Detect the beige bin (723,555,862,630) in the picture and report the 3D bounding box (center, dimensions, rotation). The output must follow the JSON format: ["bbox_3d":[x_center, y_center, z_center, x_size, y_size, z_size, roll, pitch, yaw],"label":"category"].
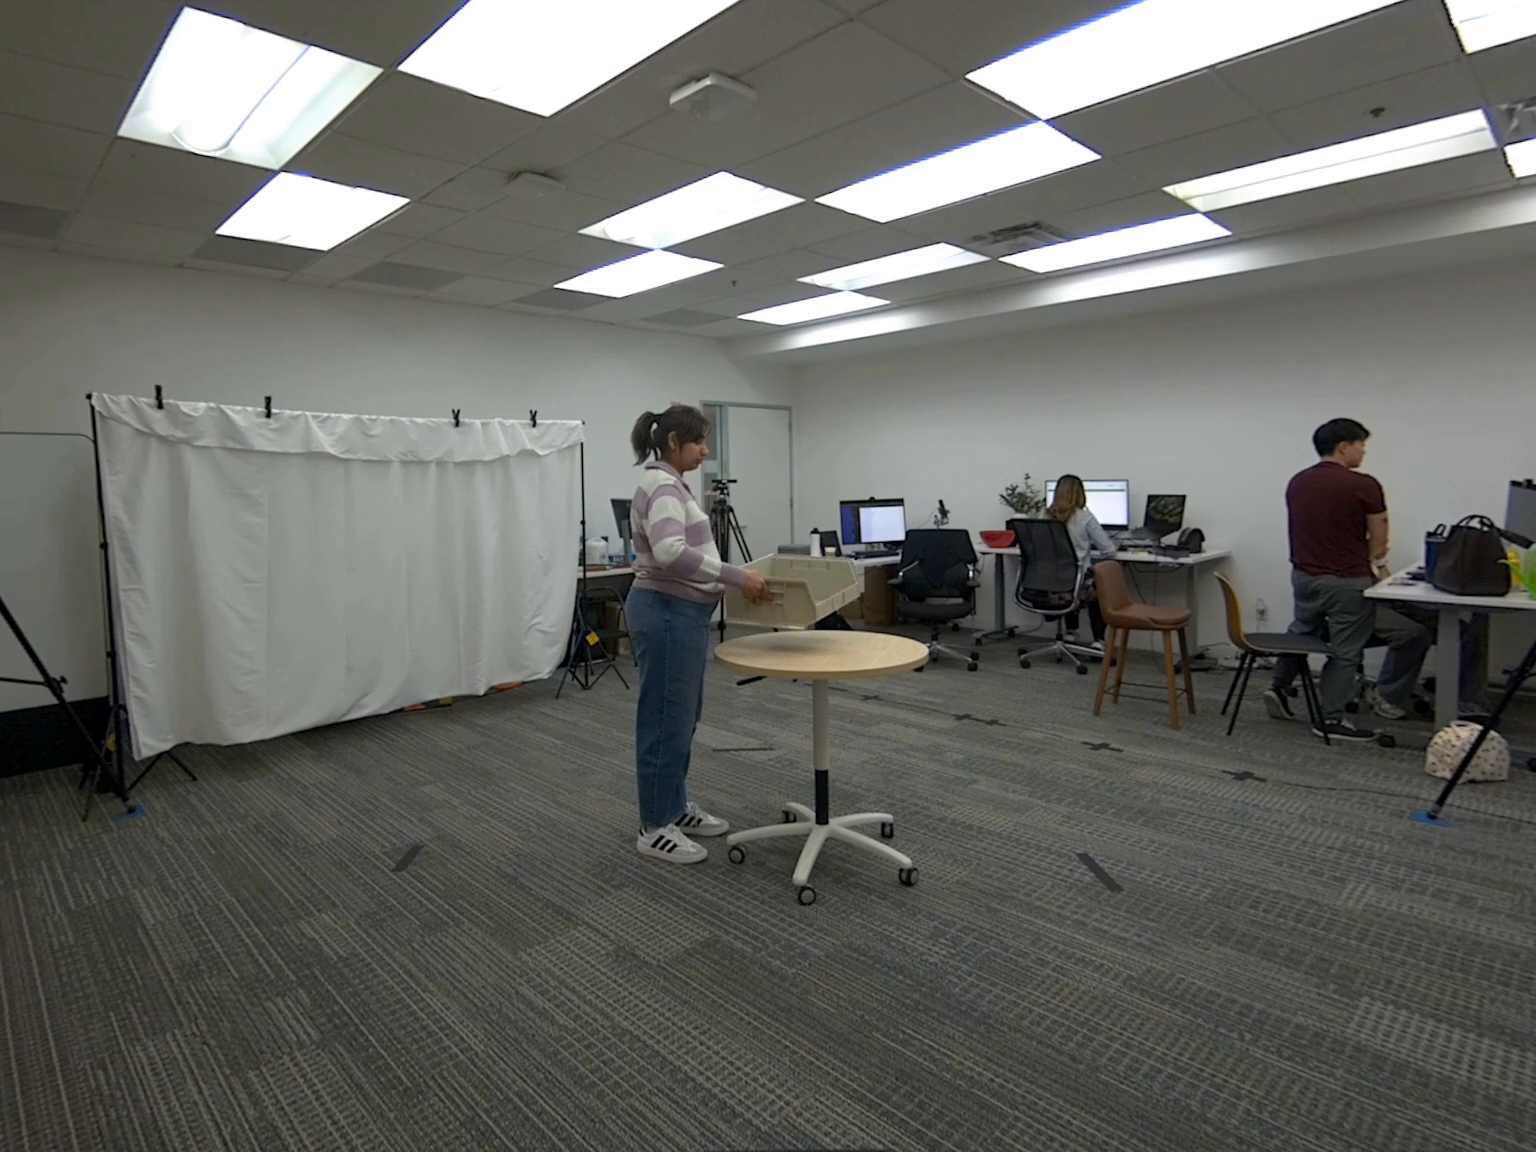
[{"bbox_3d":[0.084,0.055,3.168,0.387,0.187,0.416,2,12,28],"label":"beige bin"}]
